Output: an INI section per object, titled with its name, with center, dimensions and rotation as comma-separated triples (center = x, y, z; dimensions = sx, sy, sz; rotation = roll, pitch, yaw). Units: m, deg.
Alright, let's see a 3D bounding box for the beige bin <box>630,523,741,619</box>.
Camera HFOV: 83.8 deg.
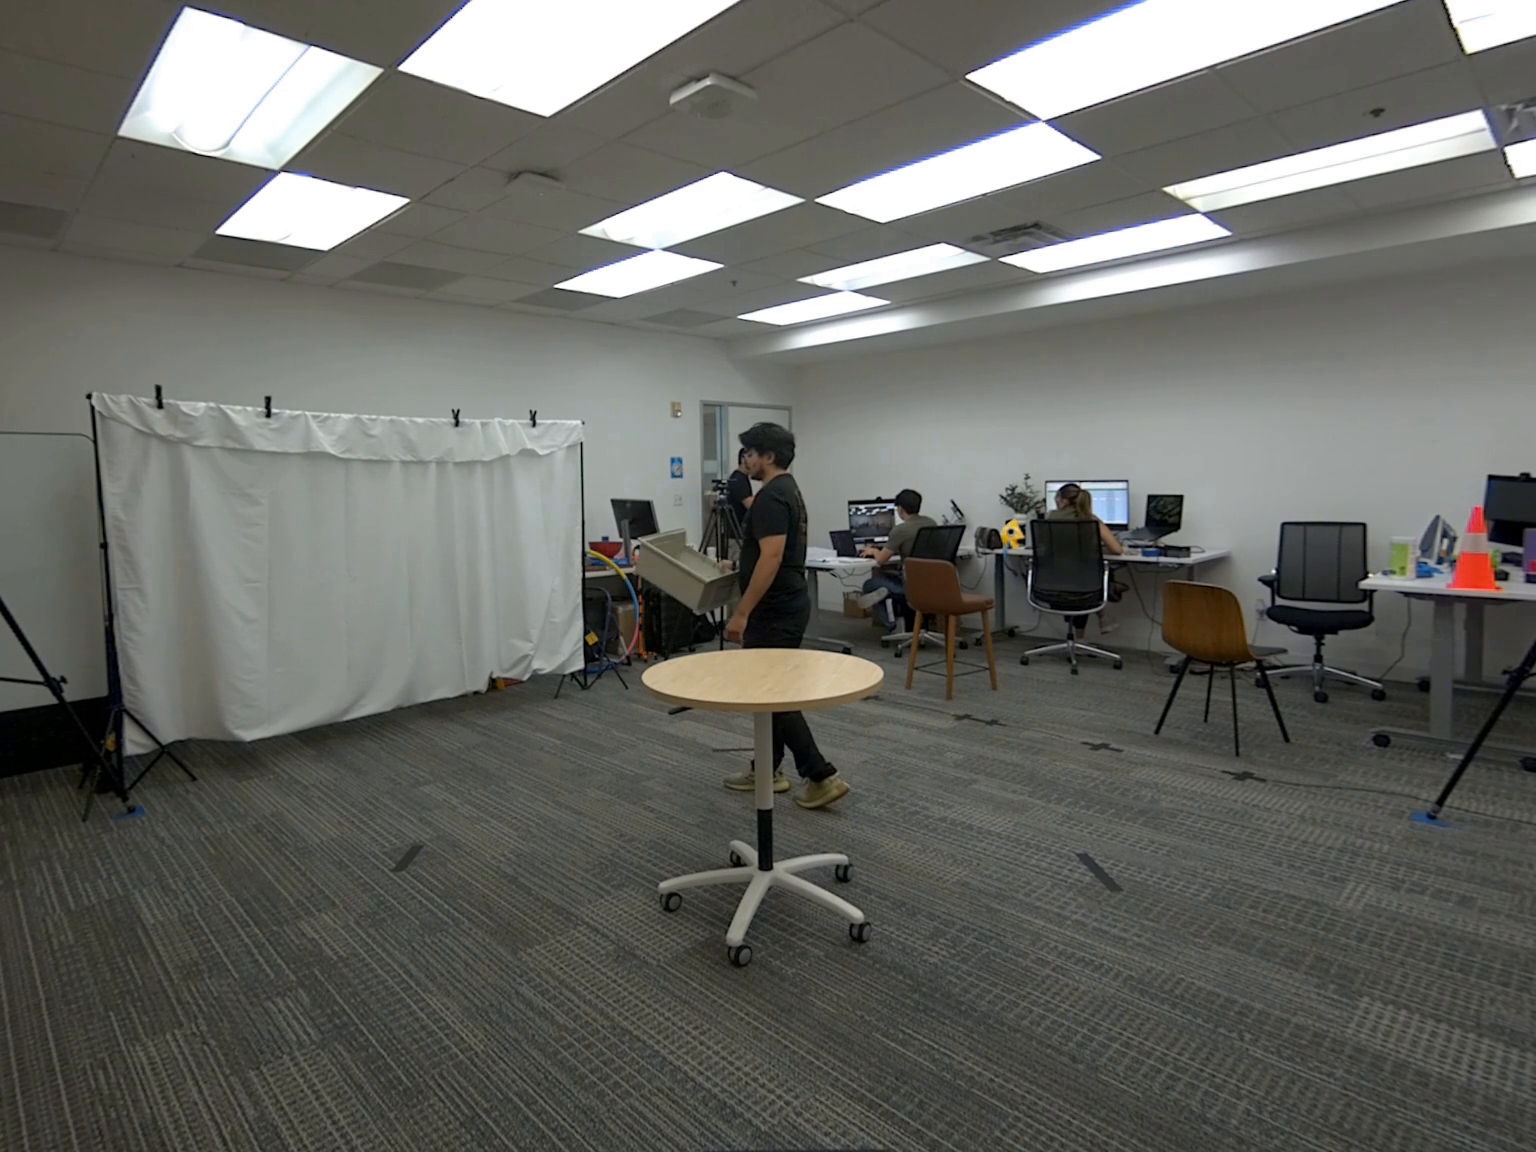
[beige bin]
center = -0.337, -0.036, 3.950
dimensions = 0.436, 0.186, 0.370
rotation = 30, 27, 26
